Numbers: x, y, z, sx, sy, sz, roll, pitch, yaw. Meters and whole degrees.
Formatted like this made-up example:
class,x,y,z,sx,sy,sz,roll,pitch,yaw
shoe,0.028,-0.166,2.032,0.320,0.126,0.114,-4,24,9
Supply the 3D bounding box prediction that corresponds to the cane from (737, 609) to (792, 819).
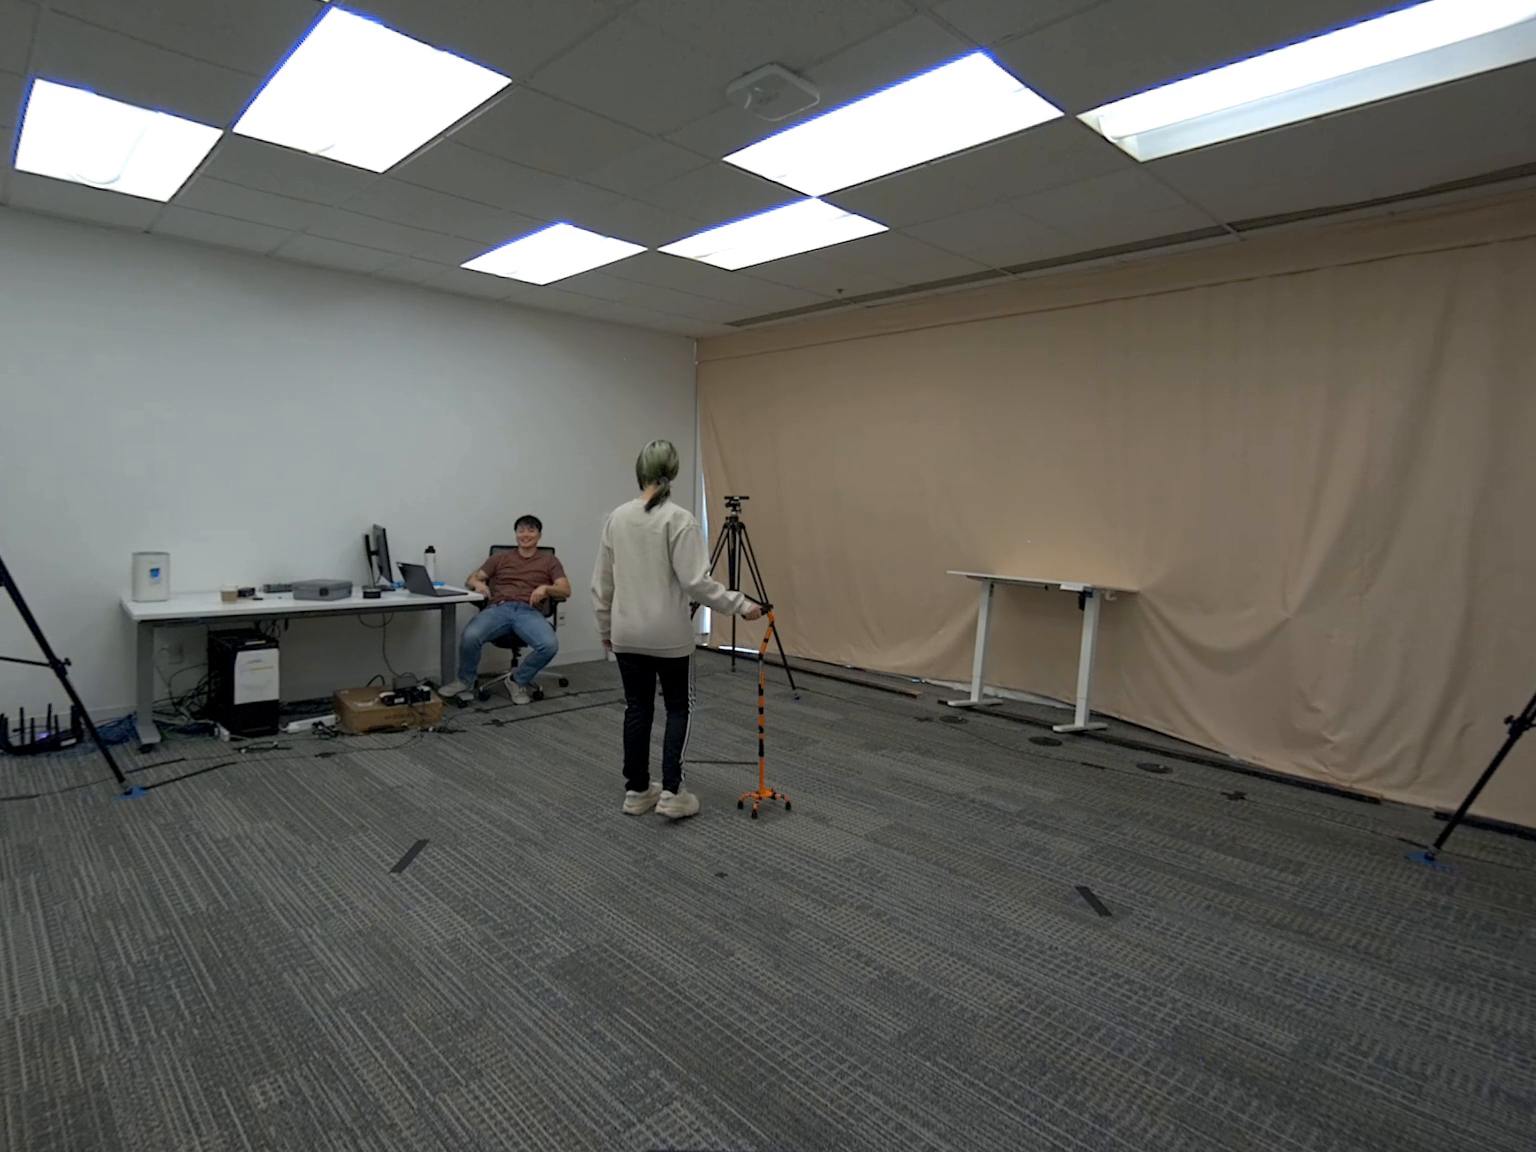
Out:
class,x,y,z,sx,sy,sz,roll,pitch,yaw
cane,-0.030,0.590,3.717,0.202,0.902,0.155,-5,9,-34
